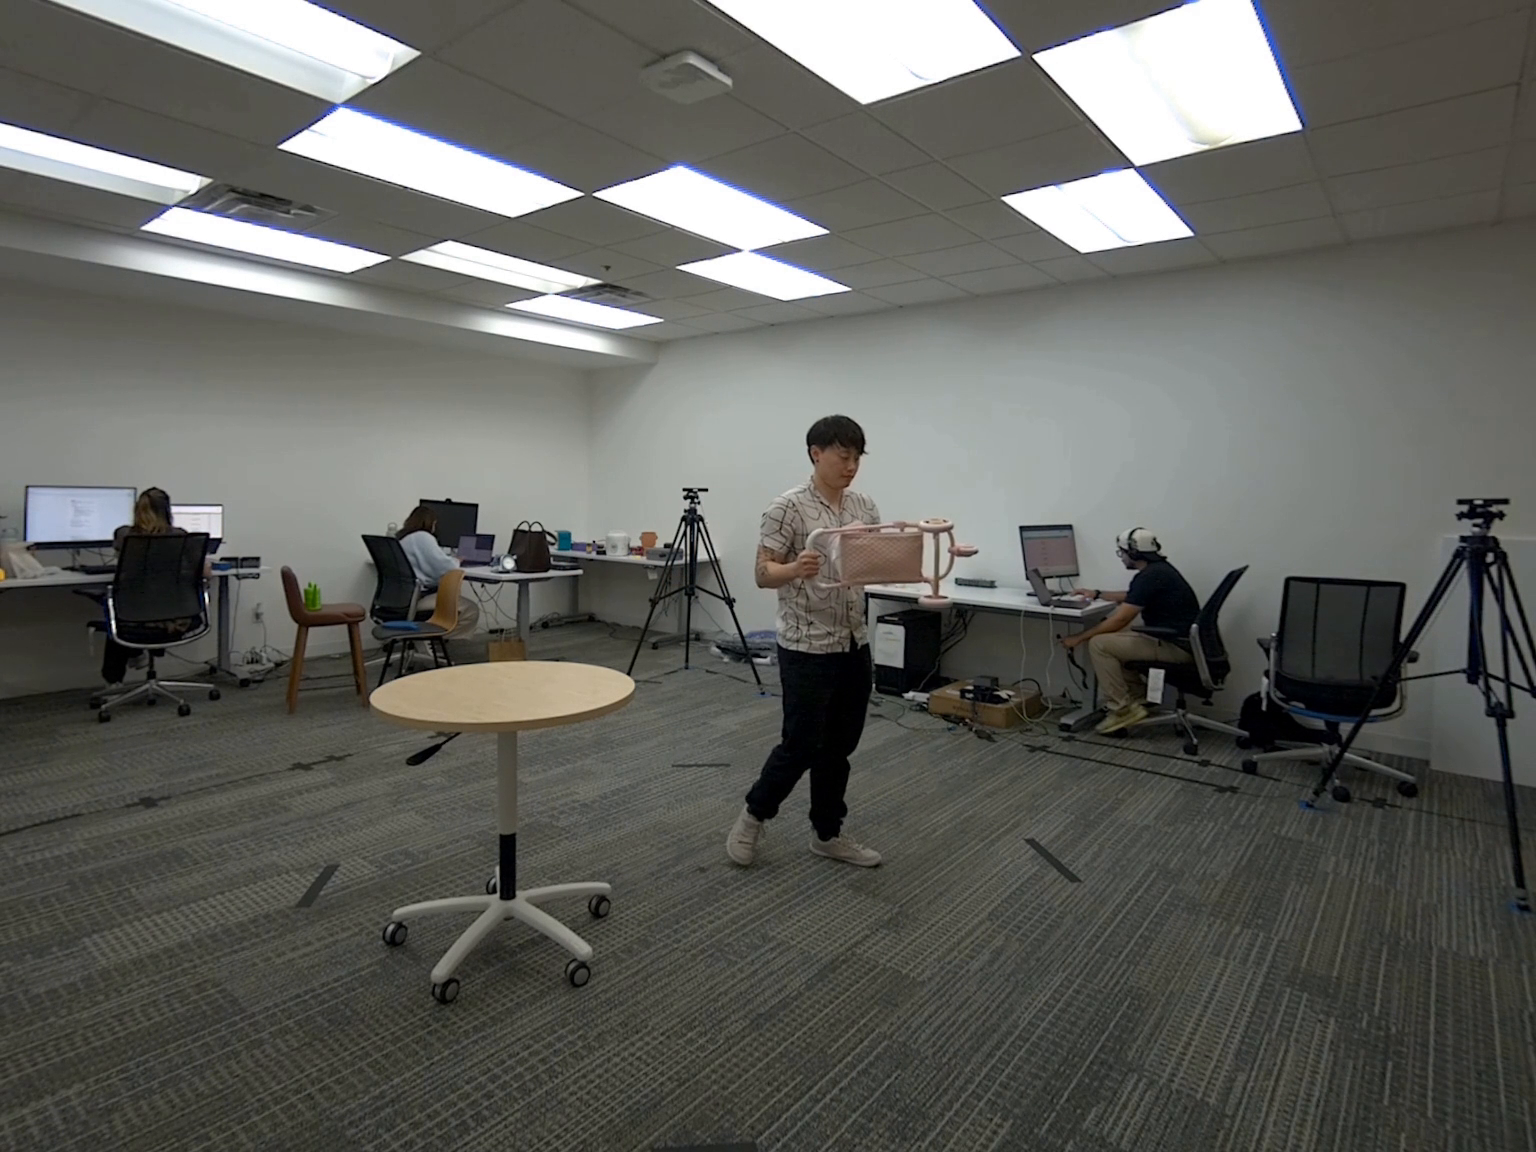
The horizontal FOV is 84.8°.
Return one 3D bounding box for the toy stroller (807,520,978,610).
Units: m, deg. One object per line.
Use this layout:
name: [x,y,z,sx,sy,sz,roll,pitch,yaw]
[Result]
toy stroller: [0.415,-0.074,2.895,0.546,0.277,0.339,3,16,18]
